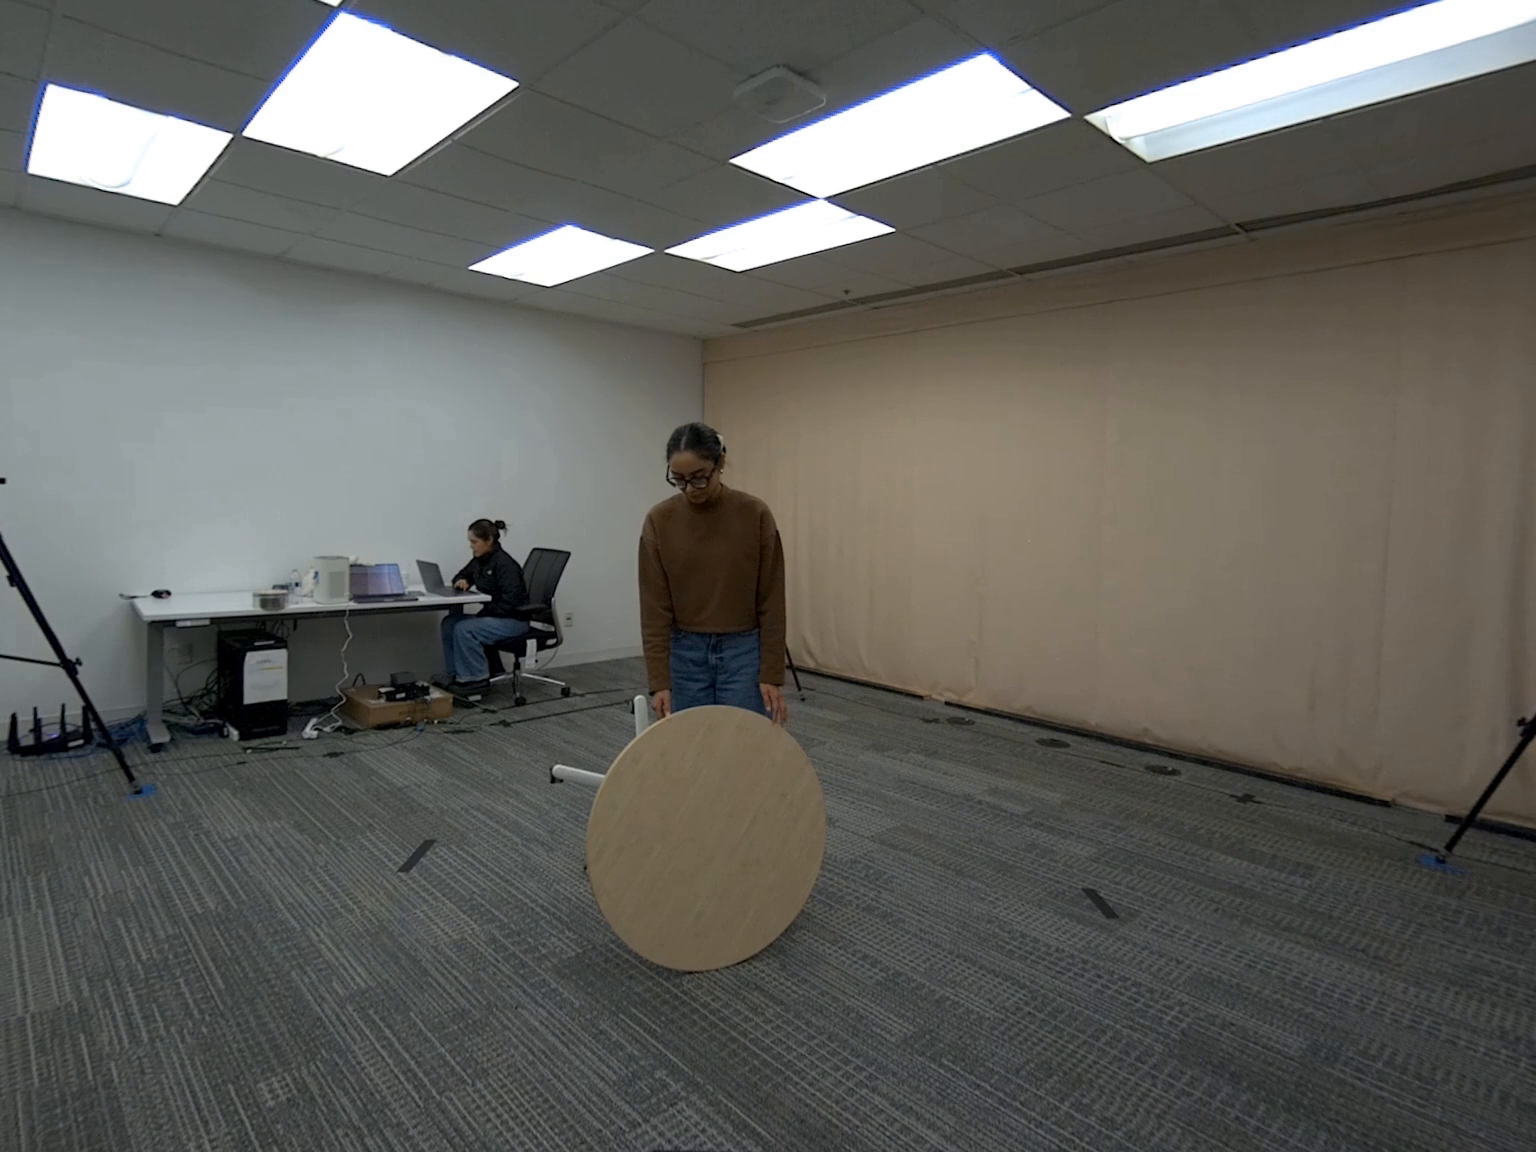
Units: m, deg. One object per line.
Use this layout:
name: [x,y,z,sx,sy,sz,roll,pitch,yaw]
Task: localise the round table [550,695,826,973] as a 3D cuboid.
round table: [-0.342,0.790,2.870,0.750,0.766,0.806,-1,-3,-25]
